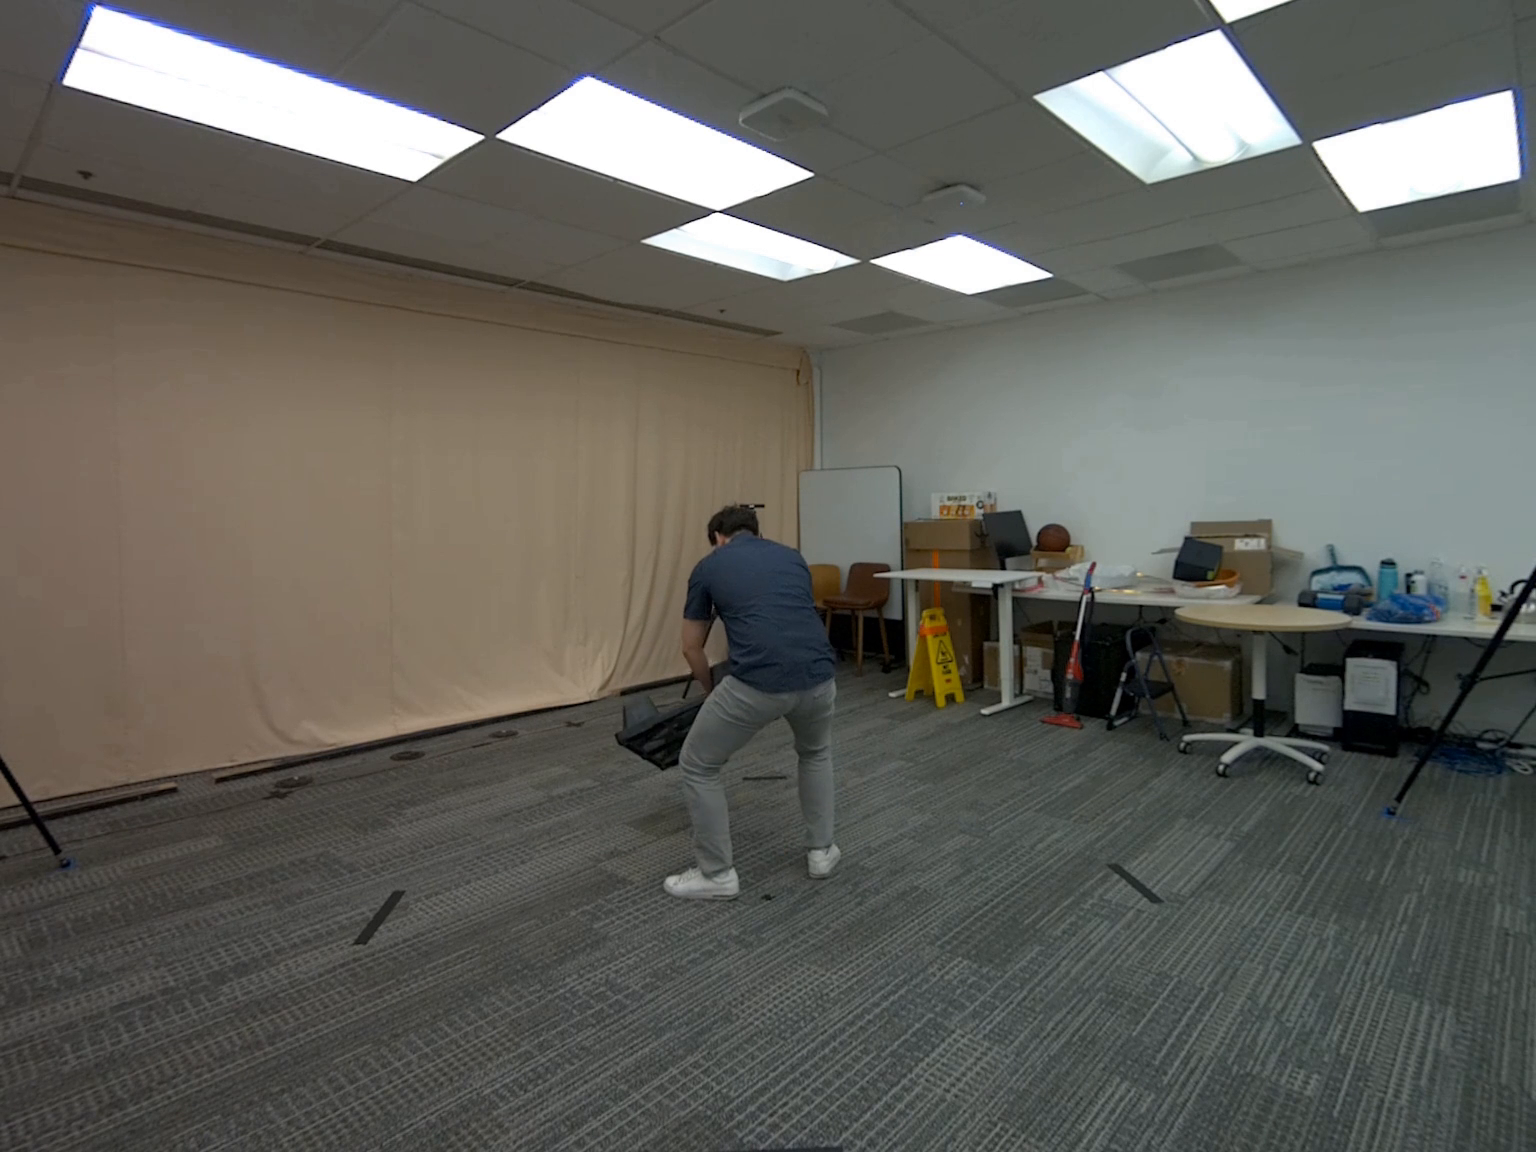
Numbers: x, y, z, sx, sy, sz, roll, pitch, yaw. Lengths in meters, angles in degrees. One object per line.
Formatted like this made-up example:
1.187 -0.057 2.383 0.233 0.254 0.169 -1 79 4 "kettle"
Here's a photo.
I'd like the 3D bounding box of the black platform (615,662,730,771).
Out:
-0.278 0.592 3.549 0.605 0.146 0.788 -23 -22 -1 "black platform"
